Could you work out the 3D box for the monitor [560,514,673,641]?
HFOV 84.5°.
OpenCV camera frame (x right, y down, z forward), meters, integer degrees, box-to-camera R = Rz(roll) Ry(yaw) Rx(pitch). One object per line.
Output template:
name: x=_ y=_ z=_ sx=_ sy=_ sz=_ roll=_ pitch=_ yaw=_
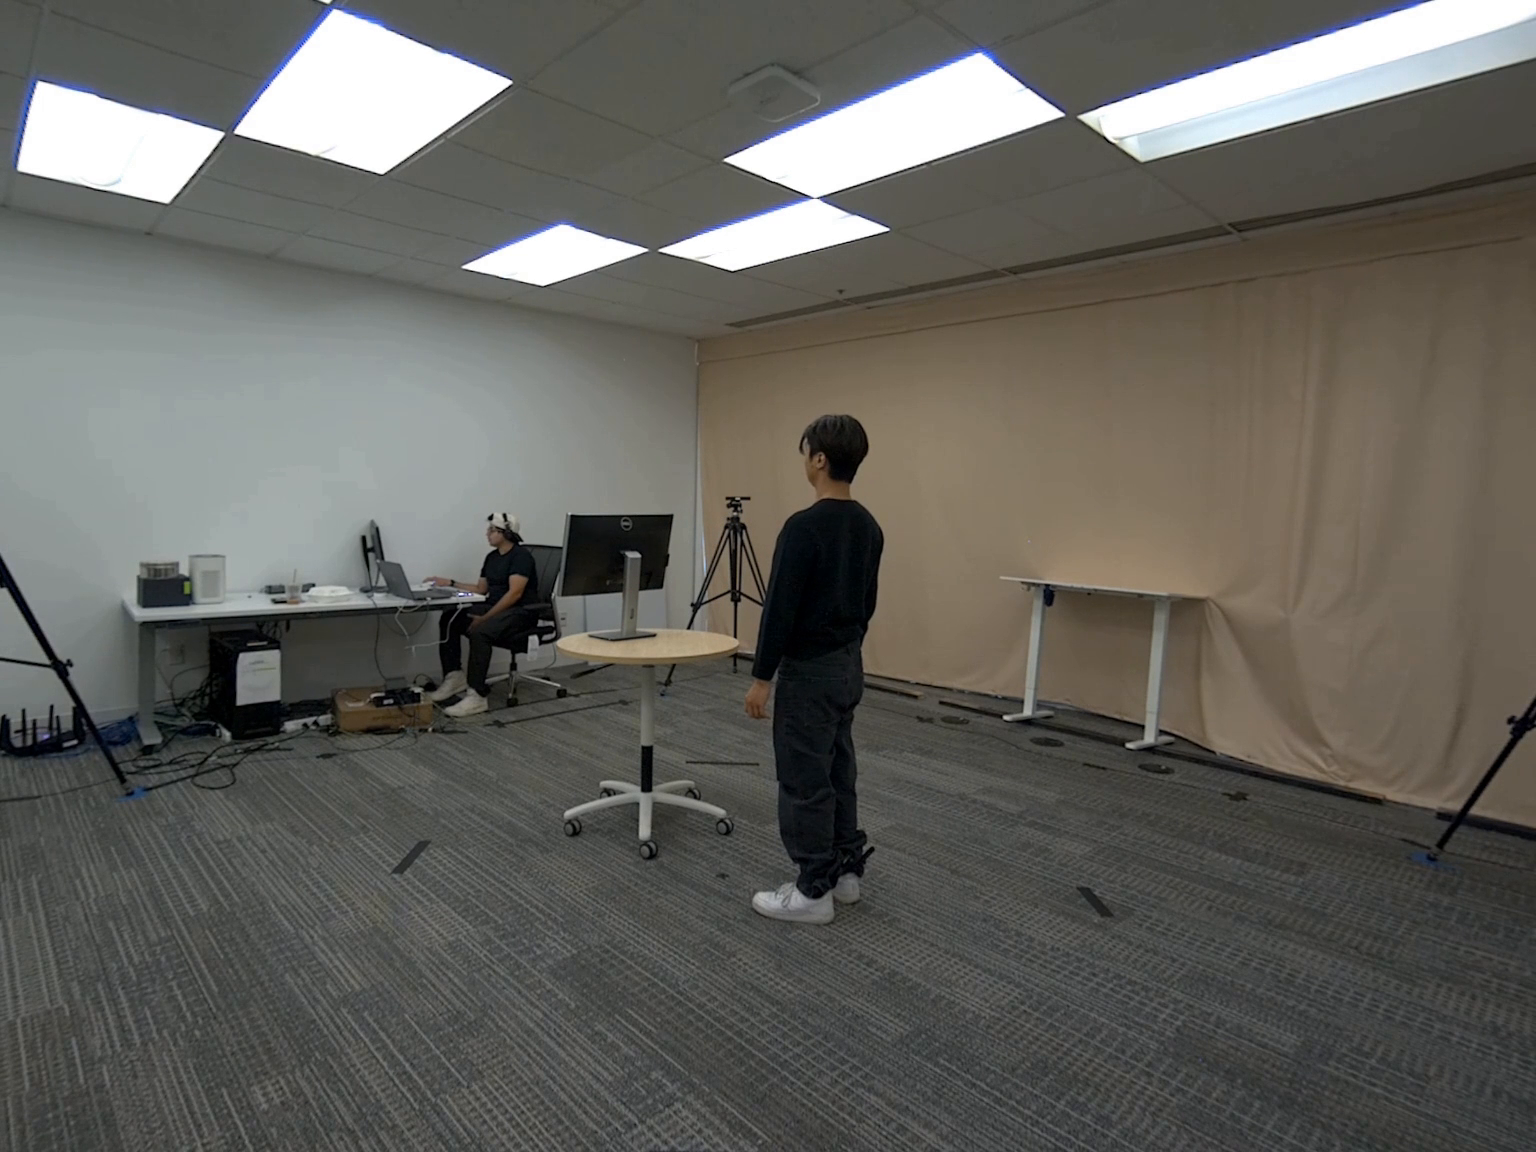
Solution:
monitor: x=-0.651 y=-0.005 z=3.690 sx=0.178 sy=0.516 sz=0.518 roll=-3 pitch=2 yaw=44
